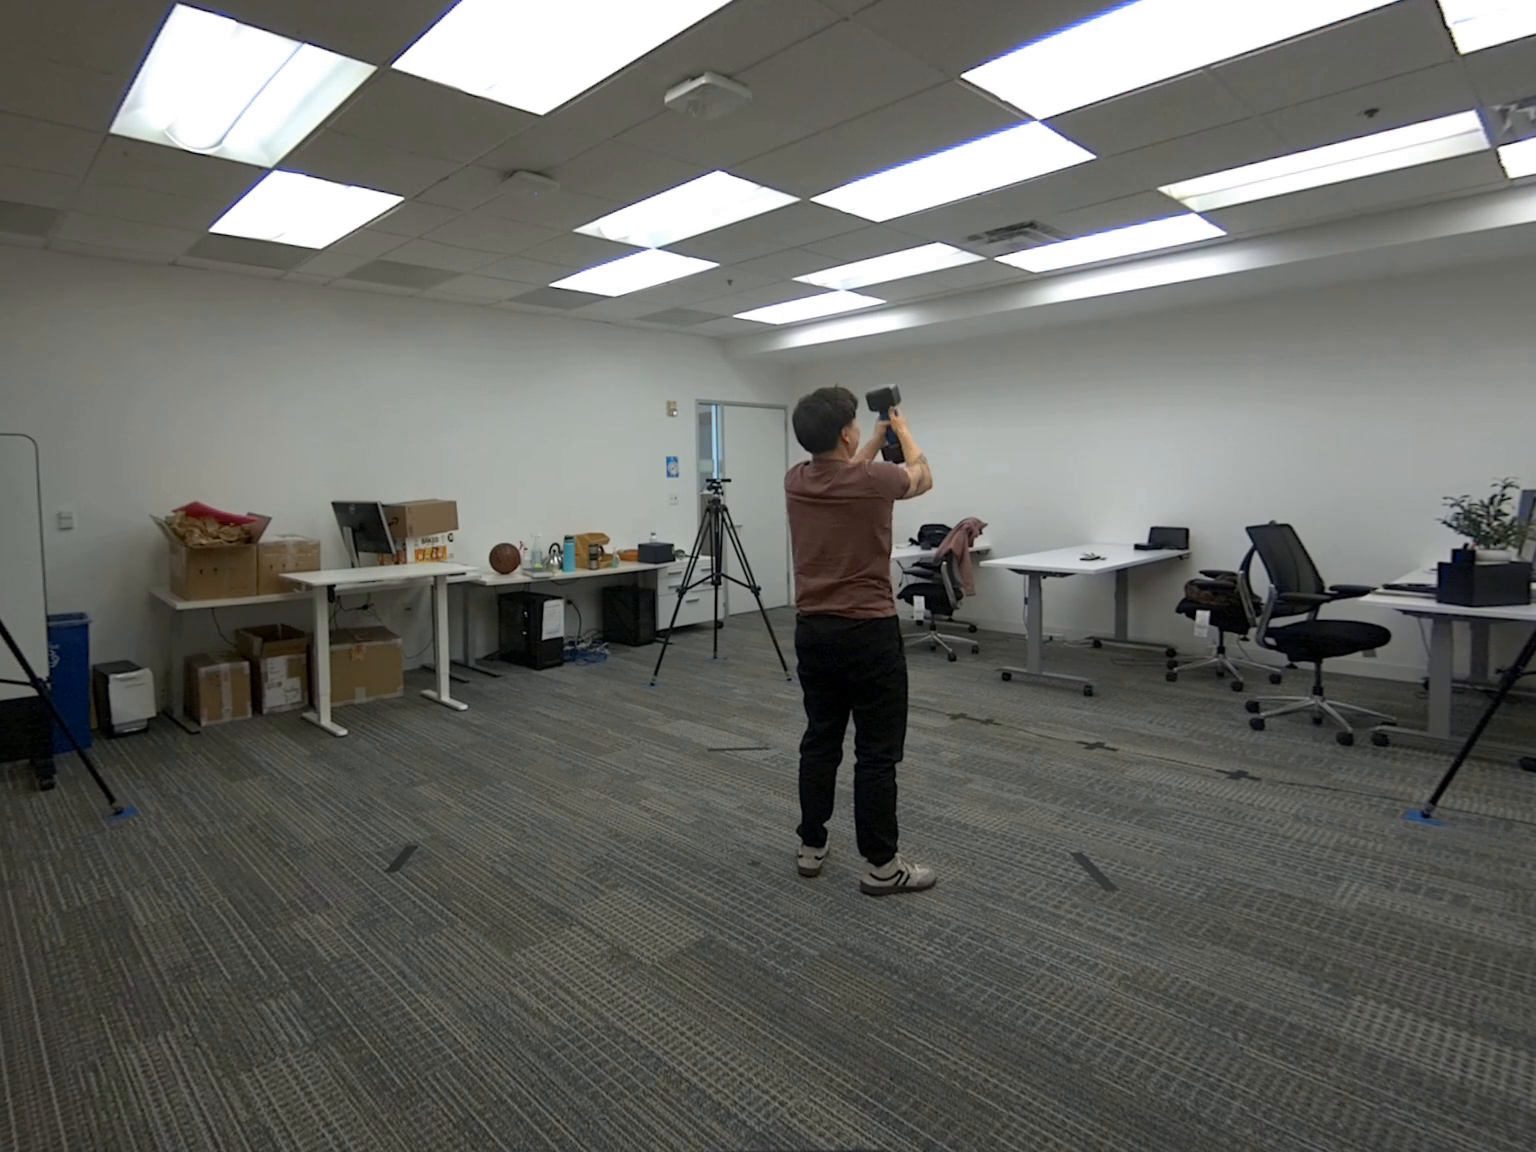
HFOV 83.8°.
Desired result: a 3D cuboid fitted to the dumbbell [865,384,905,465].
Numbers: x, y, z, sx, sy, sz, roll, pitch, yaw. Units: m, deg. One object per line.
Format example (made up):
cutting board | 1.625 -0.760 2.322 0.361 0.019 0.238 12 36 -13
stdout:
dumbbell | 0.462 -0.567 3.213 0.111 0.288 0.122 -7 19 36
